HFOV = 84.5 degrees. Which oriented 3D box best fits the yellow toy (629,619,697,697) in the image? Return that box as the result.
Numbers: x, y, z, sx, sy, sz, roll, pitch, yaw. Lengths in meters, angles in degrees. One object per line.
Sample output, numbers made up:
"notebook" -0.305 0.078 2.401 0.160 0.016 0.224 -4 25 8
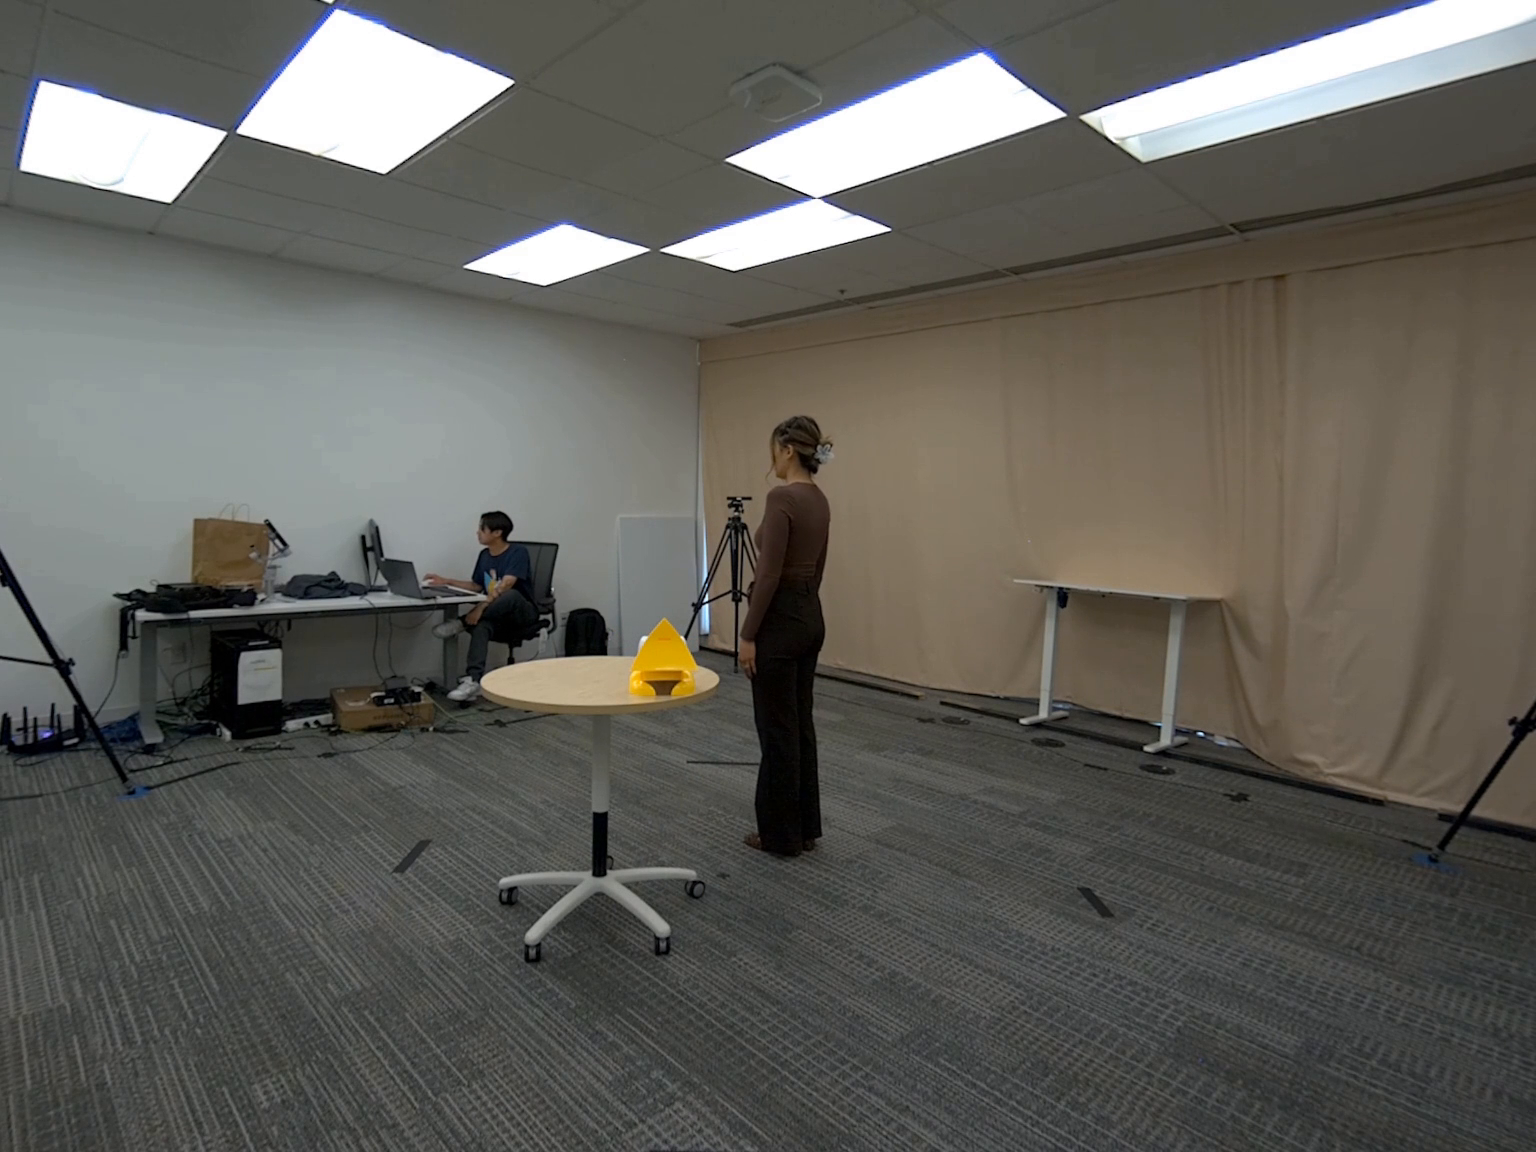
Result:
"yellow toy" -0.332 0.238 2.564 0.203 0.230 0.195 1 4 -11
